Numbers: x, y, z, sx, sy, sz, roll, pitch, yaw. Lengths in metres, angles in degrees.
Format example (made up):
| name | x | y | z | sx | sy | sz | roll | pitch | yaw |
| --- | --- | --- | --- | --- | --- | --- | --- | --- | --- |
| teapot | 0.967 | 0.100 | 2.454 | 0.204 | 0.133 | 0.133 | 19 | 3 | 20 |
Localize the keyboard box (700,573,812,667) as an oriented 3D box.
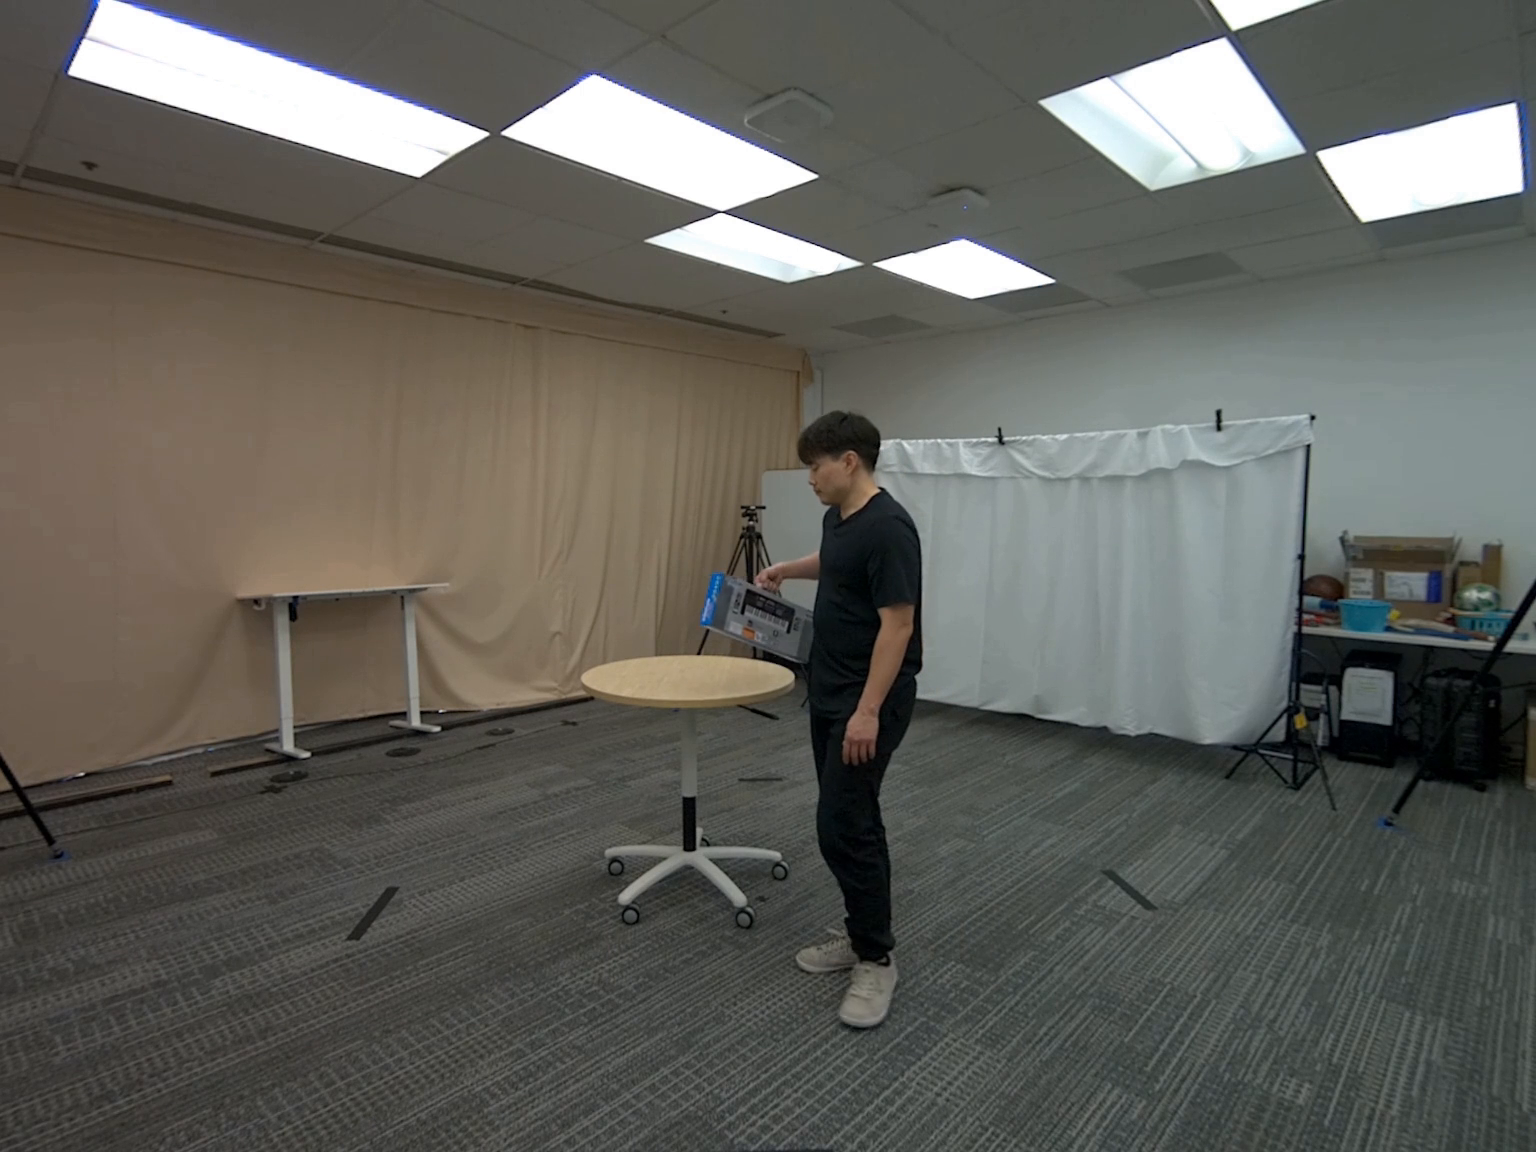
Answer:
| name | x | y | z | sx | sy | sz | roll | pitch | yaw |
| --- | --- | --- | --- | --- | --- | --- | --- | --- | --- |
| keyboard box | -0.014 | 0.153 | 2.736 | 0.422 | 0.177 | 0.061 | 24 | -17 | -36 |
